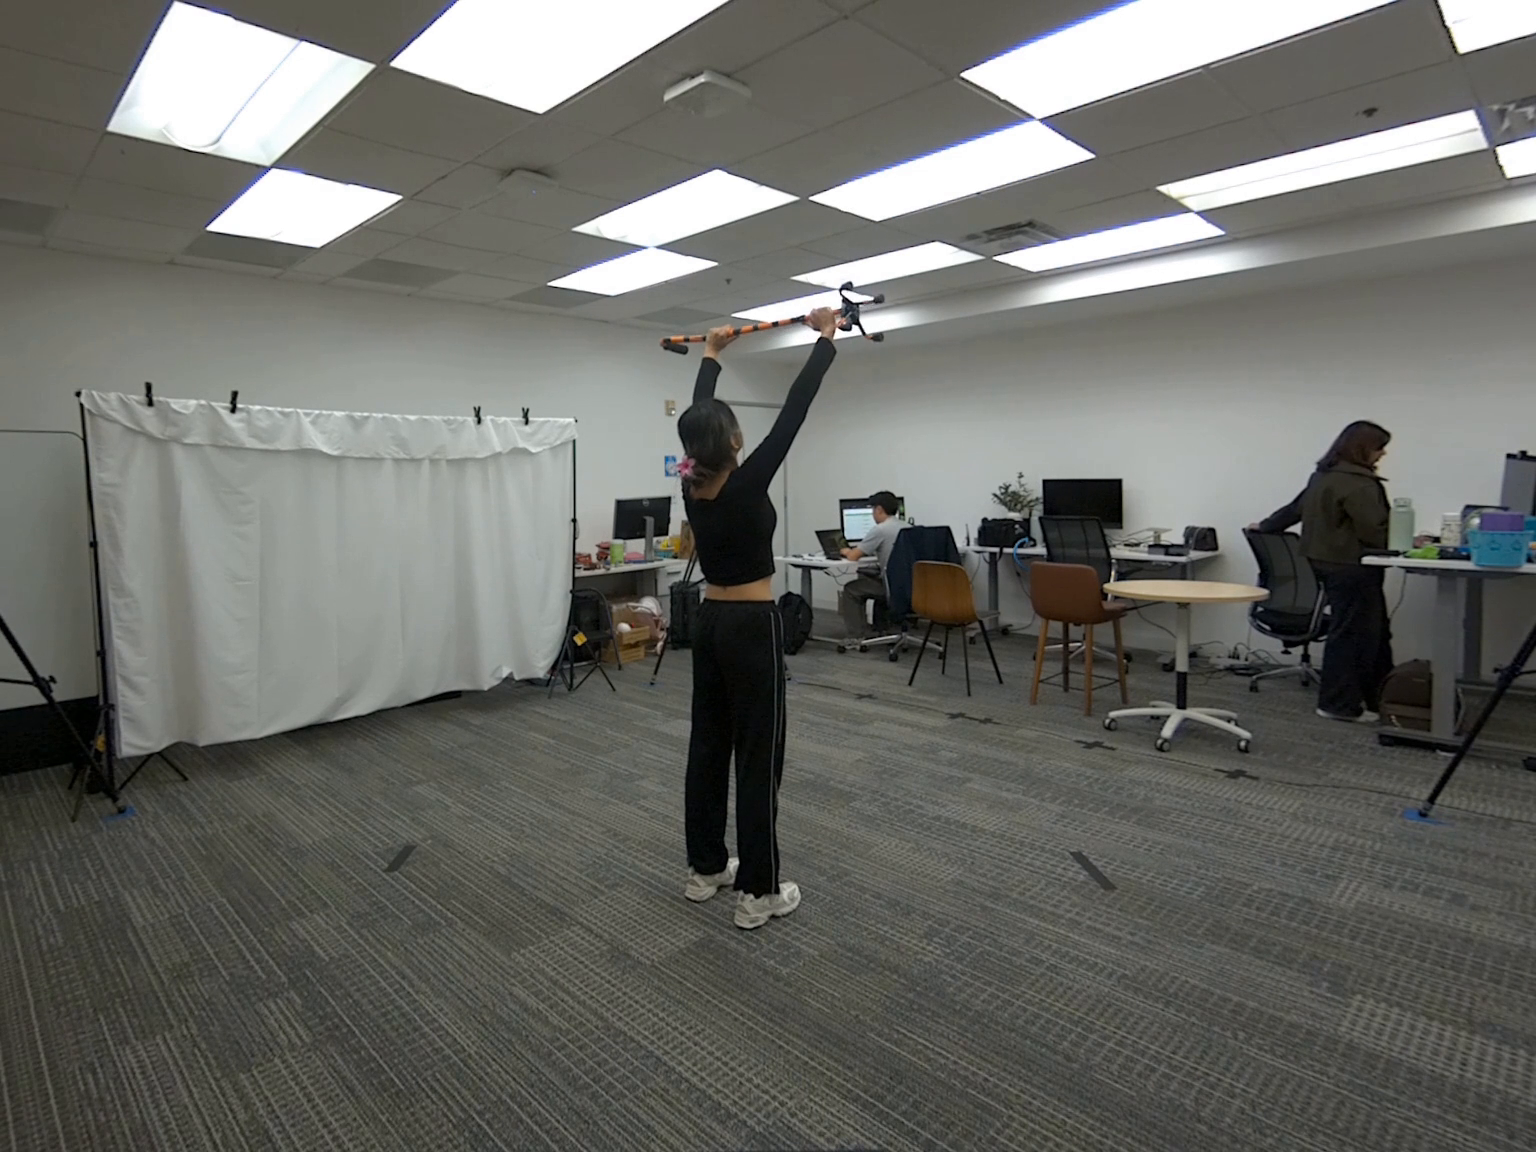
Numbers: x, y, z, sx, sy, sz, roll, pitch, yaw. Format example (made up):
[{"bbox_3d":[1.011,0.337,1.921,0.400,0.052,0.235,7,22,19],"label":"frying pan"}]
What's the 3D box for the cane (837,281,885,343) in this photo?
[{"bbox_3d":[-0.045,-0.842,2.951,0.936,0.151,0.200,5,3,42],"label":"cane"}]
